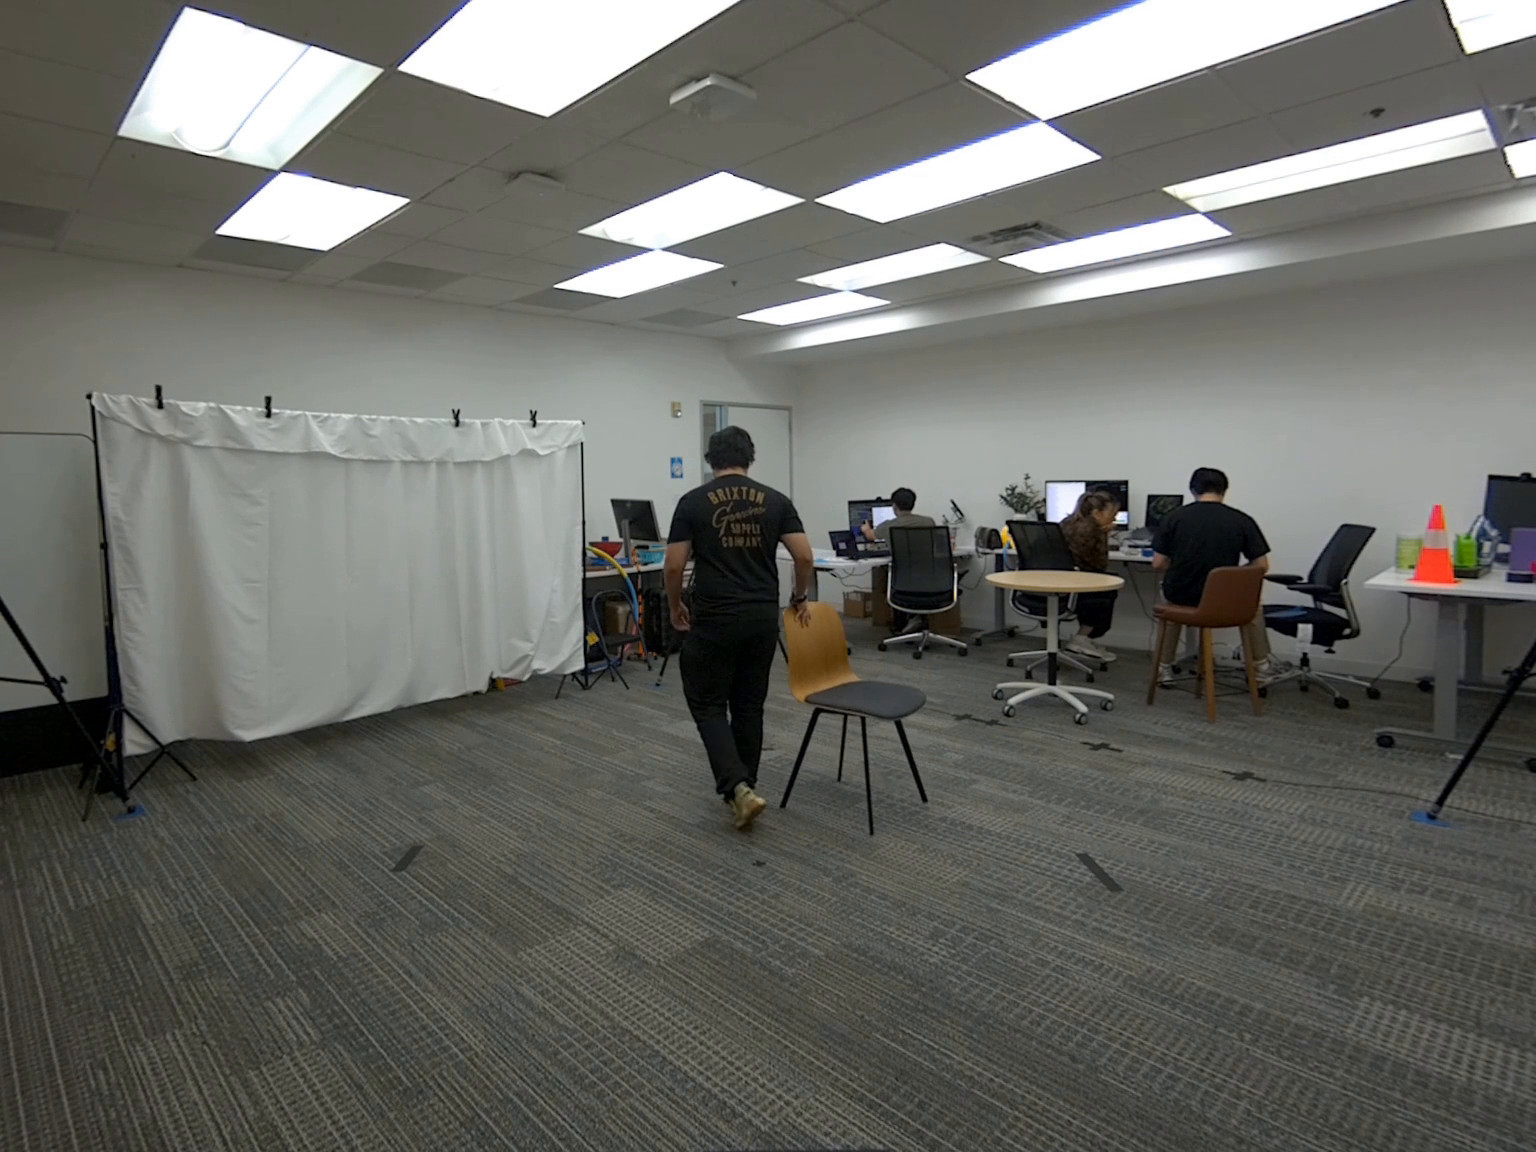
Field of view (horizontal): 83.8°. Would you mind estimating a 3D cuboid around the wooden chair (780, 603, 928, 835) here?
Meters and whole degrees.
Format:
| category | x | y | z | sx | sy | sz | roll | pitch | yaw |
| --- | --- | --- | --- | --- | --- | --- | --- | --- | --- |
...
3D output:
| category | x | y | z | sx | sy | sz | roll | pitch | yaw |
| --- | --- | --- | --- | --- | --- | --- | --- | --- | --- |
| wooden chair | 0.371 | 0.553 | 3.615 | 0.537 | 0.877 | 0.465 | -3 | 1 | 40 |
